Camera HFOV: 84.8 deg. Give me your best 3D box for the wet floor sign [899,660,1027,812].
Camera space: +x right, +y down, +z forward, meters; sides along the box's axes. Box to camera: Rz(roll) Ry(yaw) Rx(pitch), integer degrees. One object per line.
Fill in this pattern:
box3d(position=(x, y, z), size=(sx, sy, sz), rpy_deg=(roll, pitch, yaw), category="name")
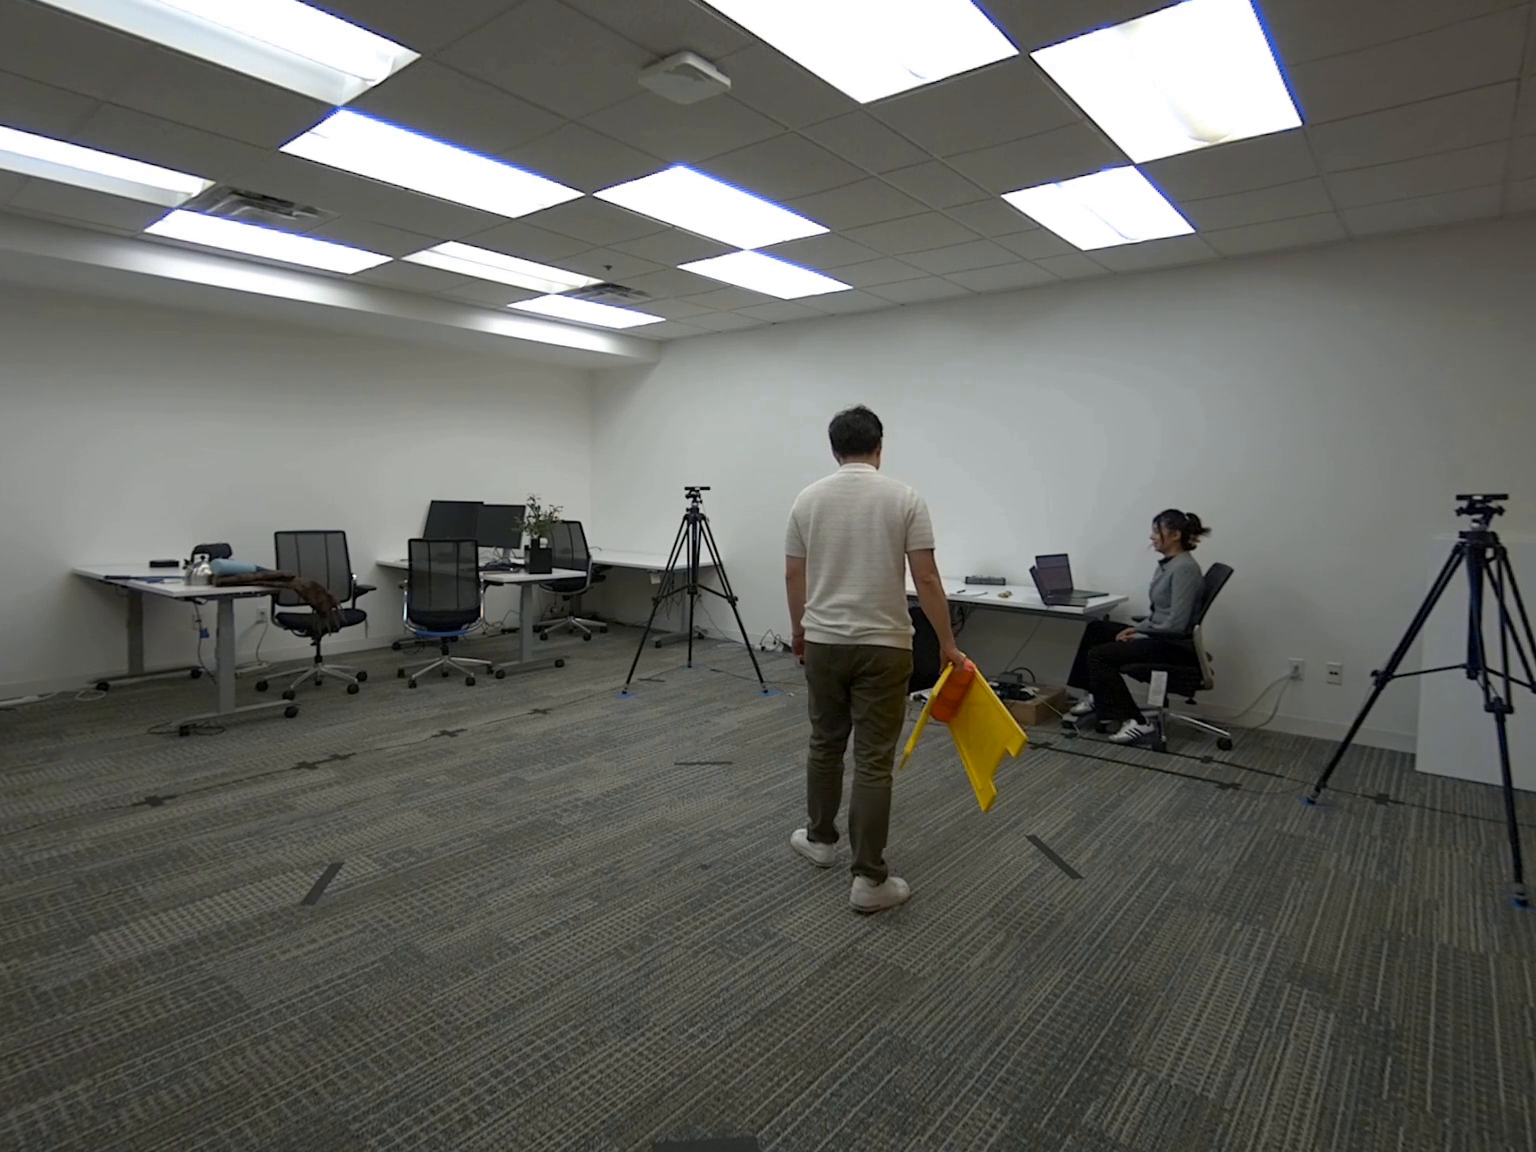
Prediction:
box3d(position=(0.625, 0.447, 2.865), size=(0.291, 0.280, 0.648), rpy_deg=(24, 18, 2), category="wet floor sign")
